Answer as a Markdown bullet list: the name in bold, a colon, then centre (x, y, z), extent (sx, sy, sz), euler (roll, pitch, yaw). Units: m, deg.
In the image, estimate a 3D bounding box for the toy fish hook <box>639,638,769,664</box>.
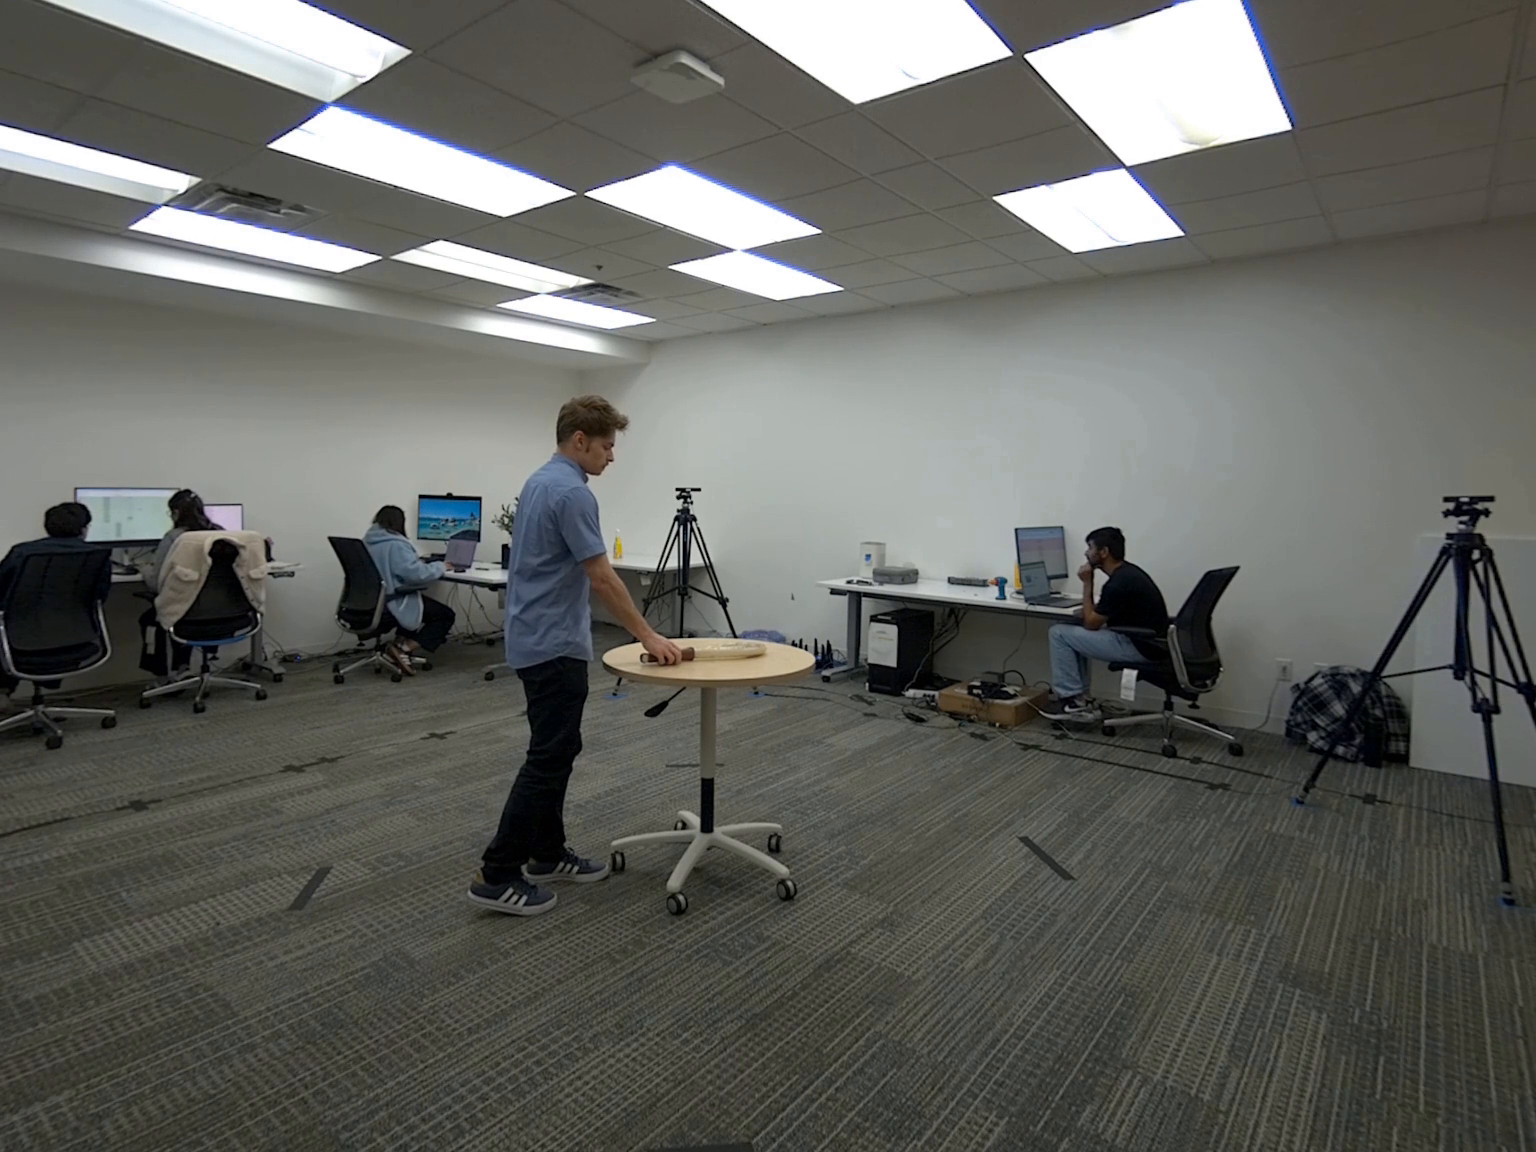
- **toy fish hook**: centre (-0.256, 0.277, 3.064), extent (0.494, 0.048, 0.230), euler (-1, -1, -27)
